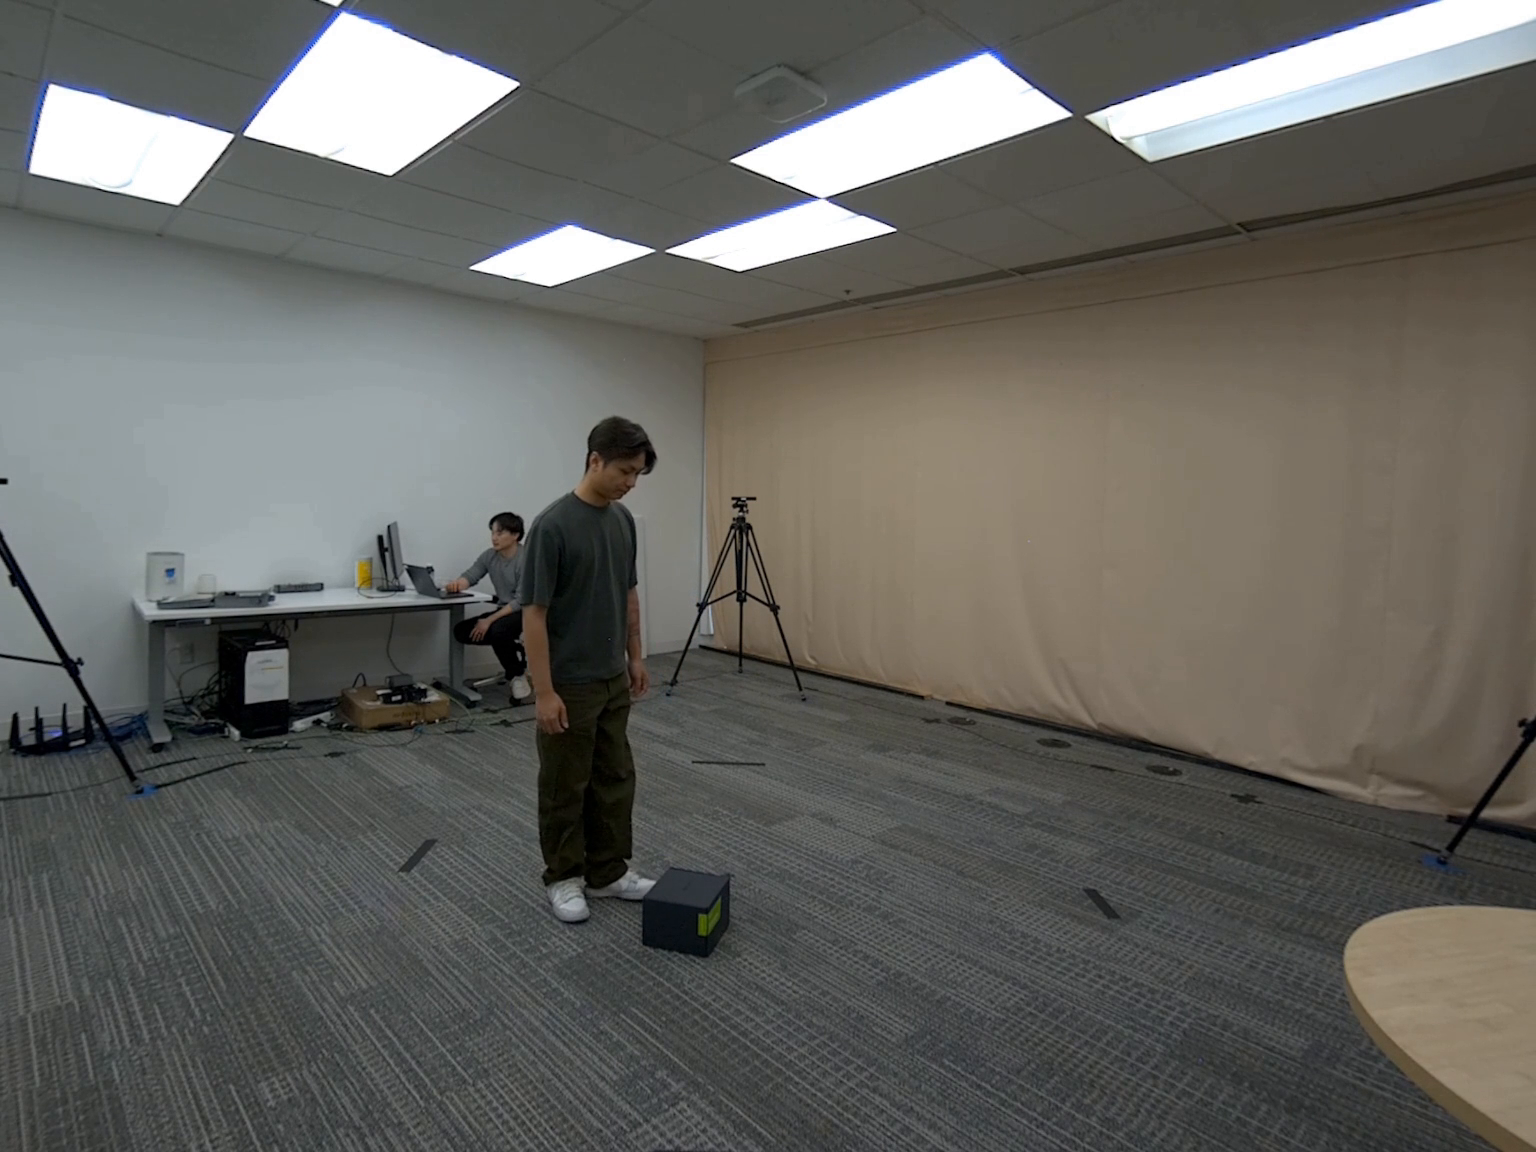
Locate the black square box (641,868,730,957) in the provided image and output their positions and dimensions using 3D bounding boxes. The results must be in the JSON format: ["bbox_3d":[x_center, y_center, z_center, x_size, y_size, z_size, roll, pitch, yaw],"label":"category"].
[{"bbox_3d":[-0.258,1.061,2.669,0.220,0.155,0.225,3,5,16],"label":"black square box"}]
